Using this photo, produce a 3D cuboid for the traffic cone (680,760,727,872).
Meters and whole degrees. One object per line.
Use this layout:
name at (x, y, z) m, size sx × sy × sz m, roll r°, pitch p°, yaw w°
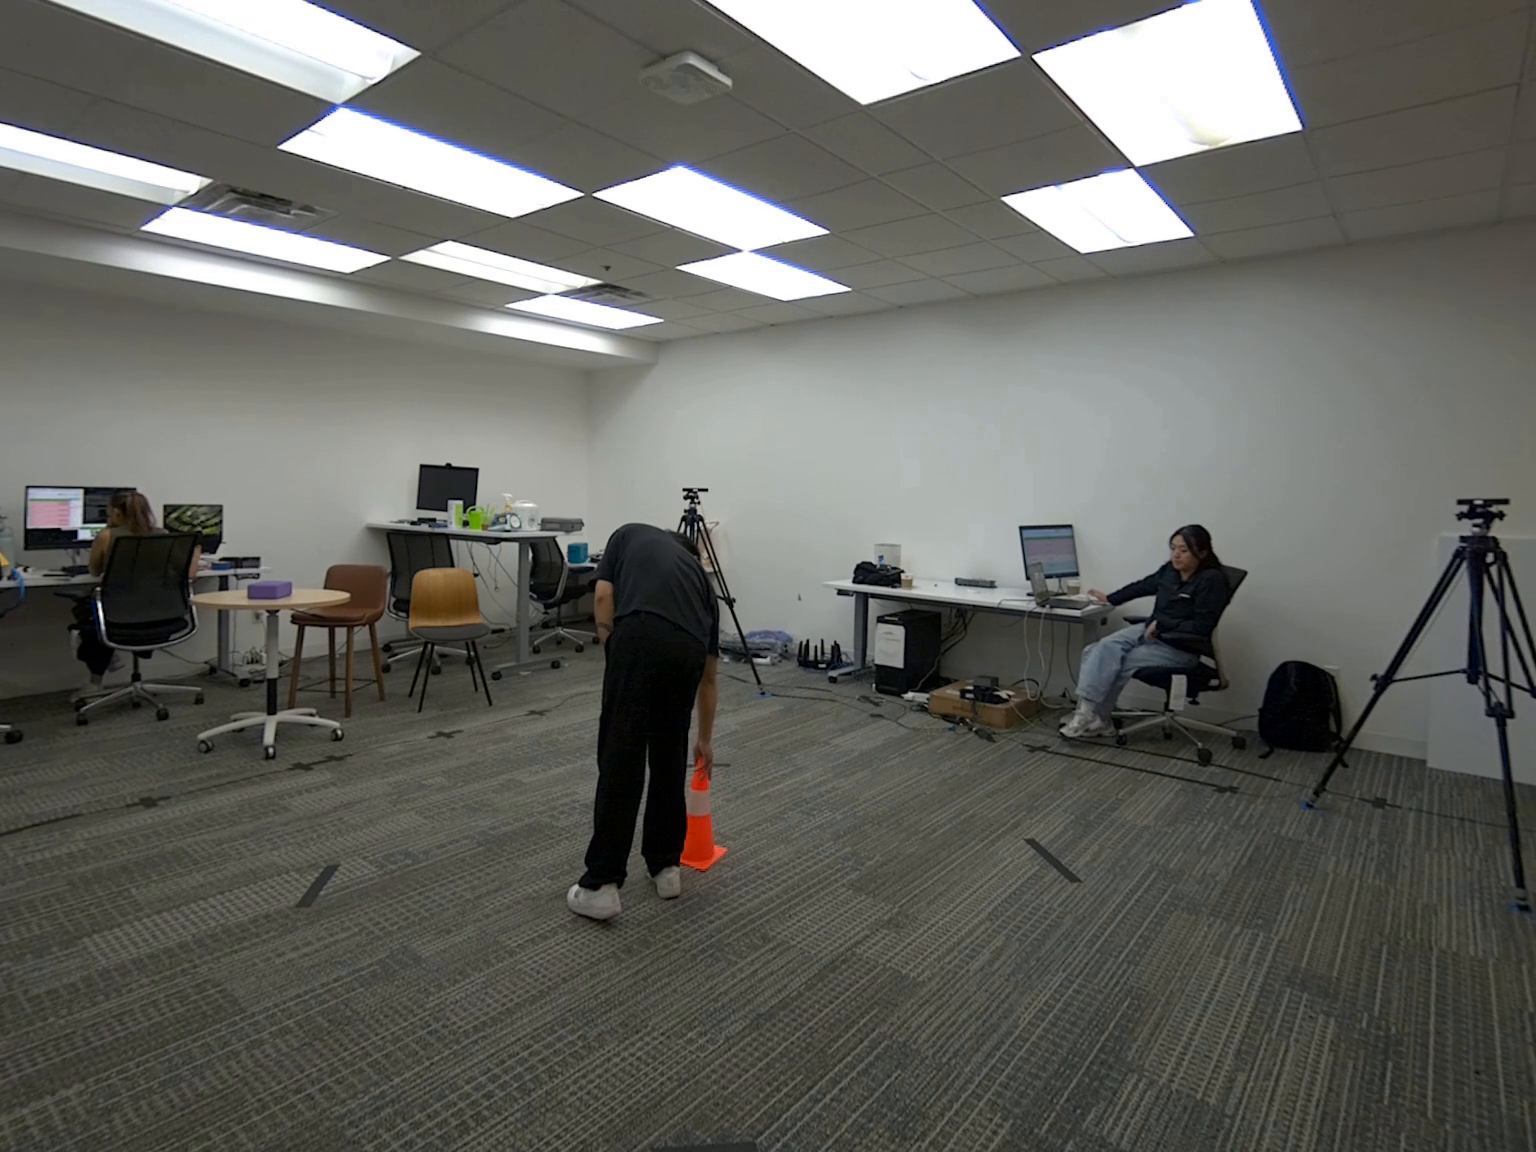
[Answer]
traffic cone at (-0.271, 0.866, 3.214) m, size 0.212 × 0.381 × 0.197 m, roll 12°, pitch 9°, yaw 38°
